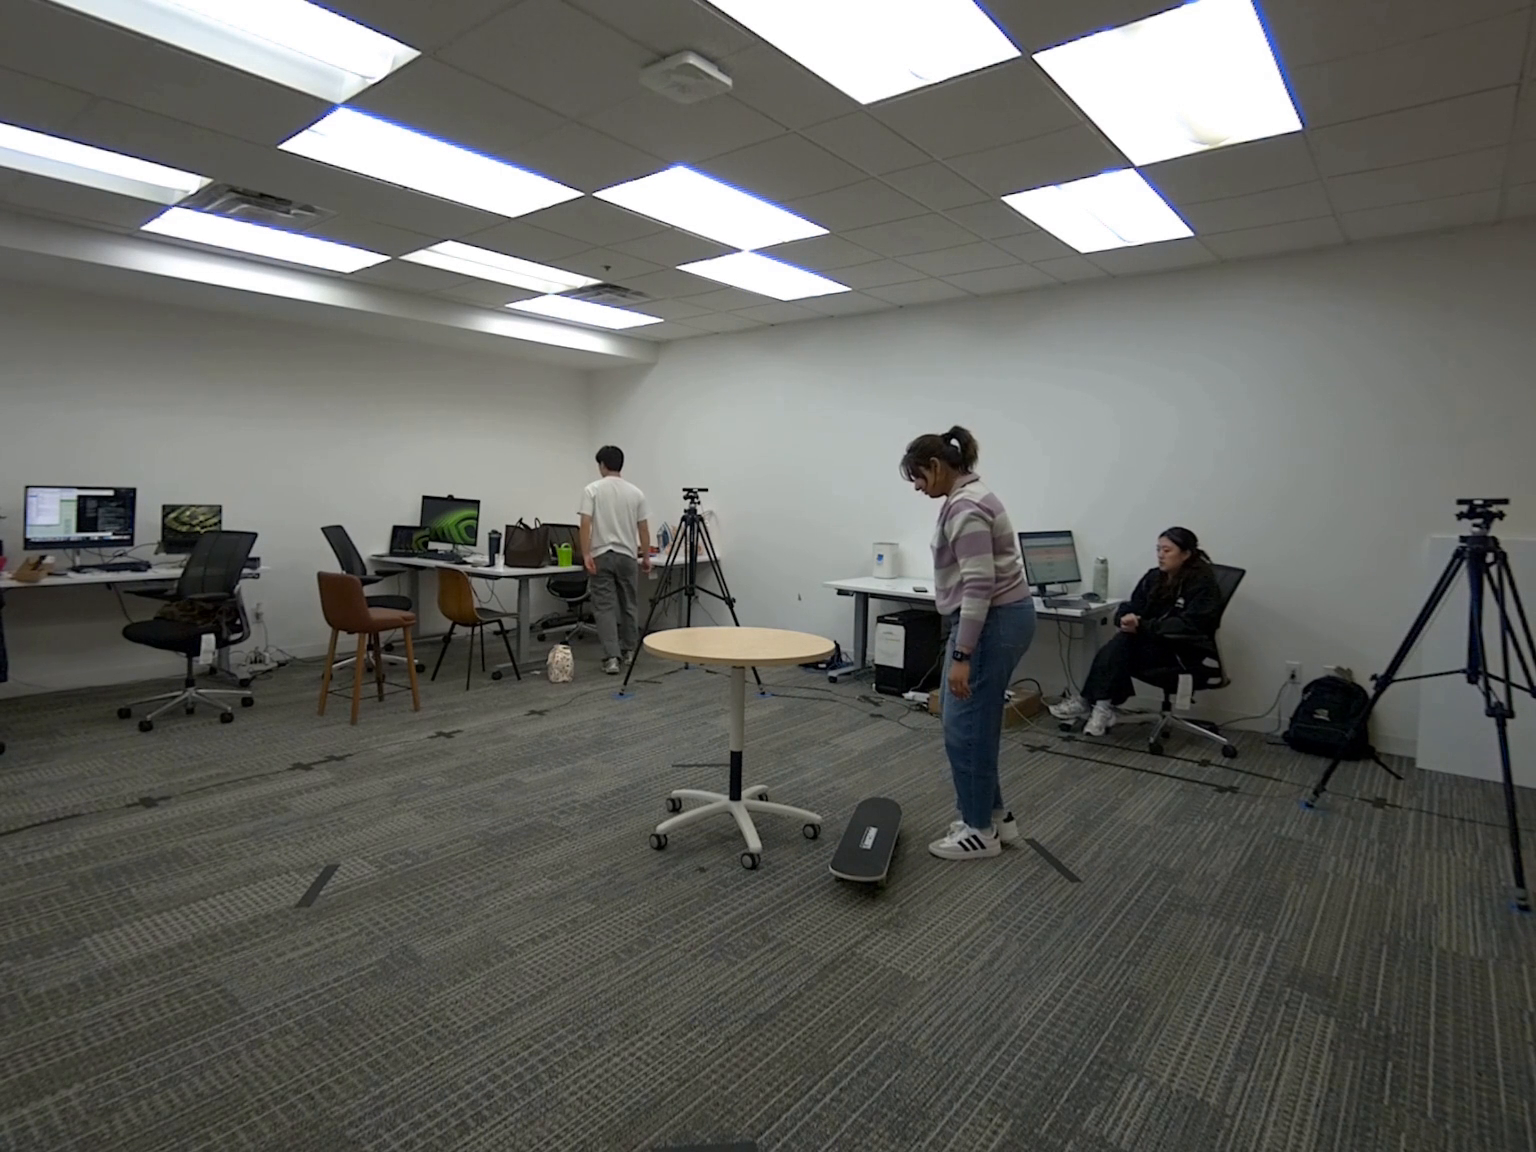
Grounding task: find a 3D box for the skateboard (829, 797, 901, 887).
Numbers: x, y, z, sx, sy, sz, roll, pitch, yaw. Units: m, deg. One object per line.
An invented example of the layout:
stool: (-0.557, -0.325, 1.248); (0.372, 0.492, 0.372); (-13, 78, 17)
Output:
skateboard: (0.374, 1.014, 3.208); (0.197, 0.110, 0.774); (1, 5, 15)
